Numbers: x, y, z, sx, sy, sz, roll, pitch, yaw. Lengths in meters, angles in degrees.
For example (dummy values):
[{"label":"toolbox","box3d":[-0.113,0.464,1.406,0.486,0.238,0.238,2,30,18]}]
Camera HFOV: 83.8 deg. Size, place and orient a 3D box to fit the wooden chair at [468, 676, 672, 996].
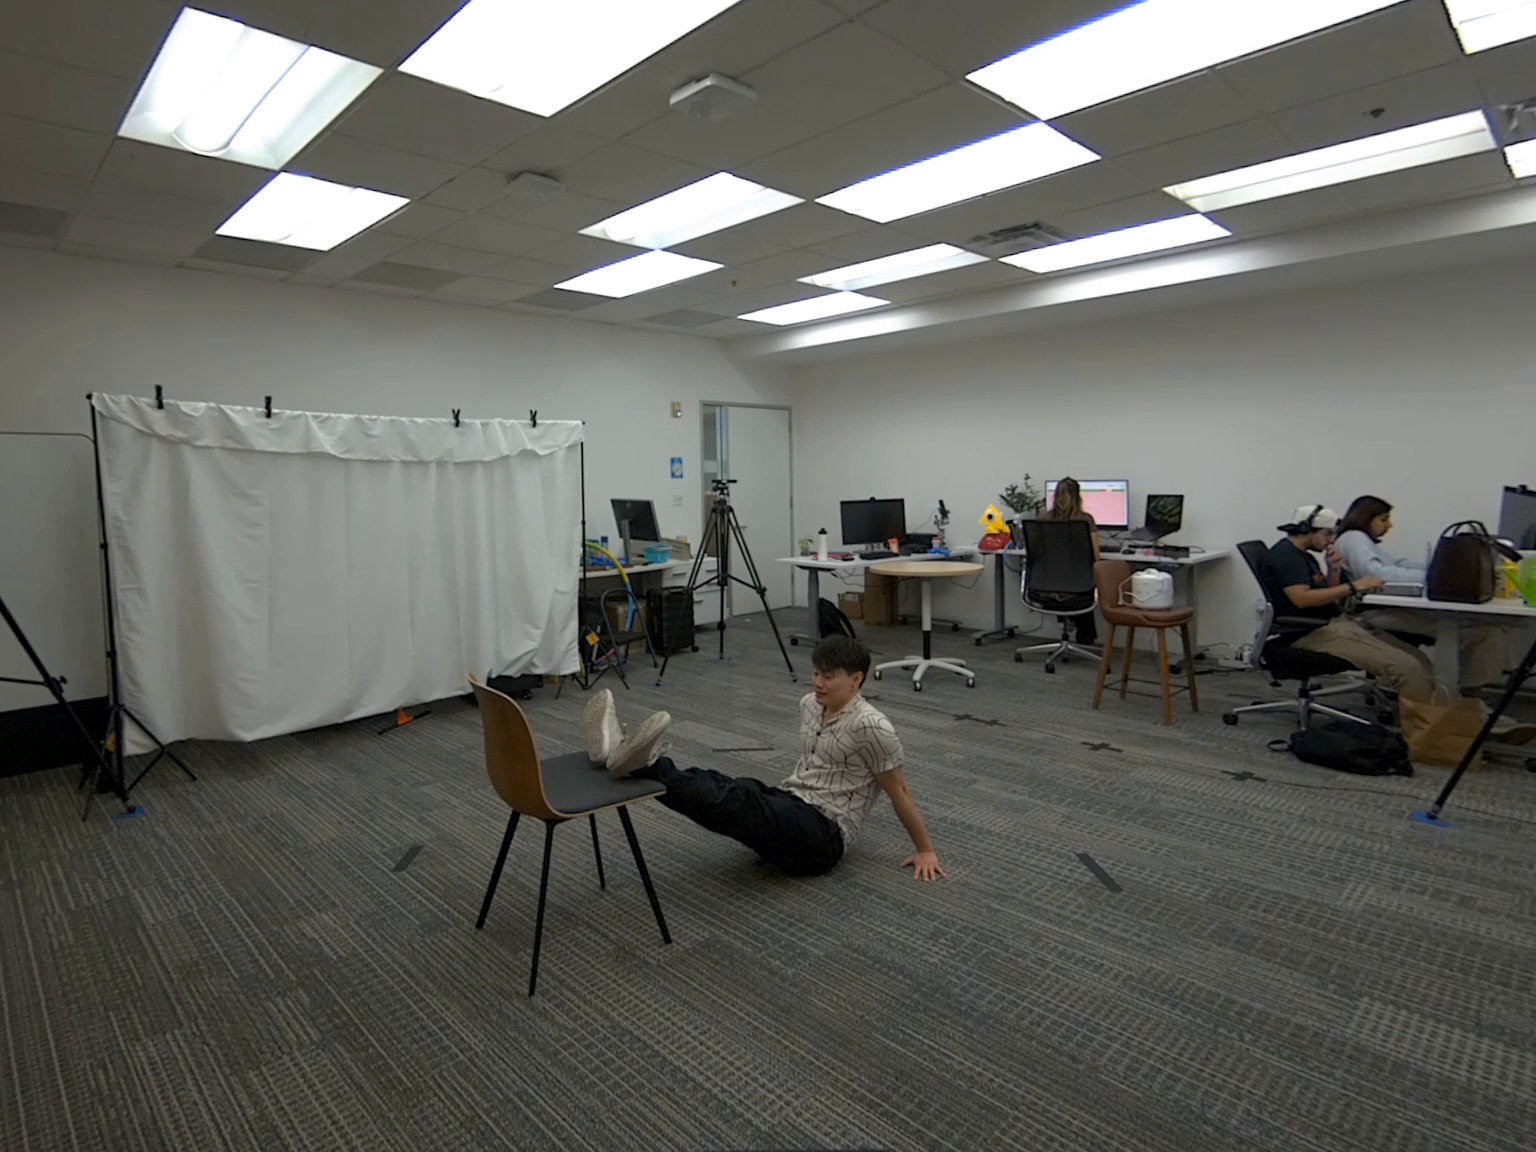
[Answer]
[{"label":"wooden chair","box3d":[-0.605,0.687,2.615,0.511,0.872,0.492,-9,8,-35]}]
